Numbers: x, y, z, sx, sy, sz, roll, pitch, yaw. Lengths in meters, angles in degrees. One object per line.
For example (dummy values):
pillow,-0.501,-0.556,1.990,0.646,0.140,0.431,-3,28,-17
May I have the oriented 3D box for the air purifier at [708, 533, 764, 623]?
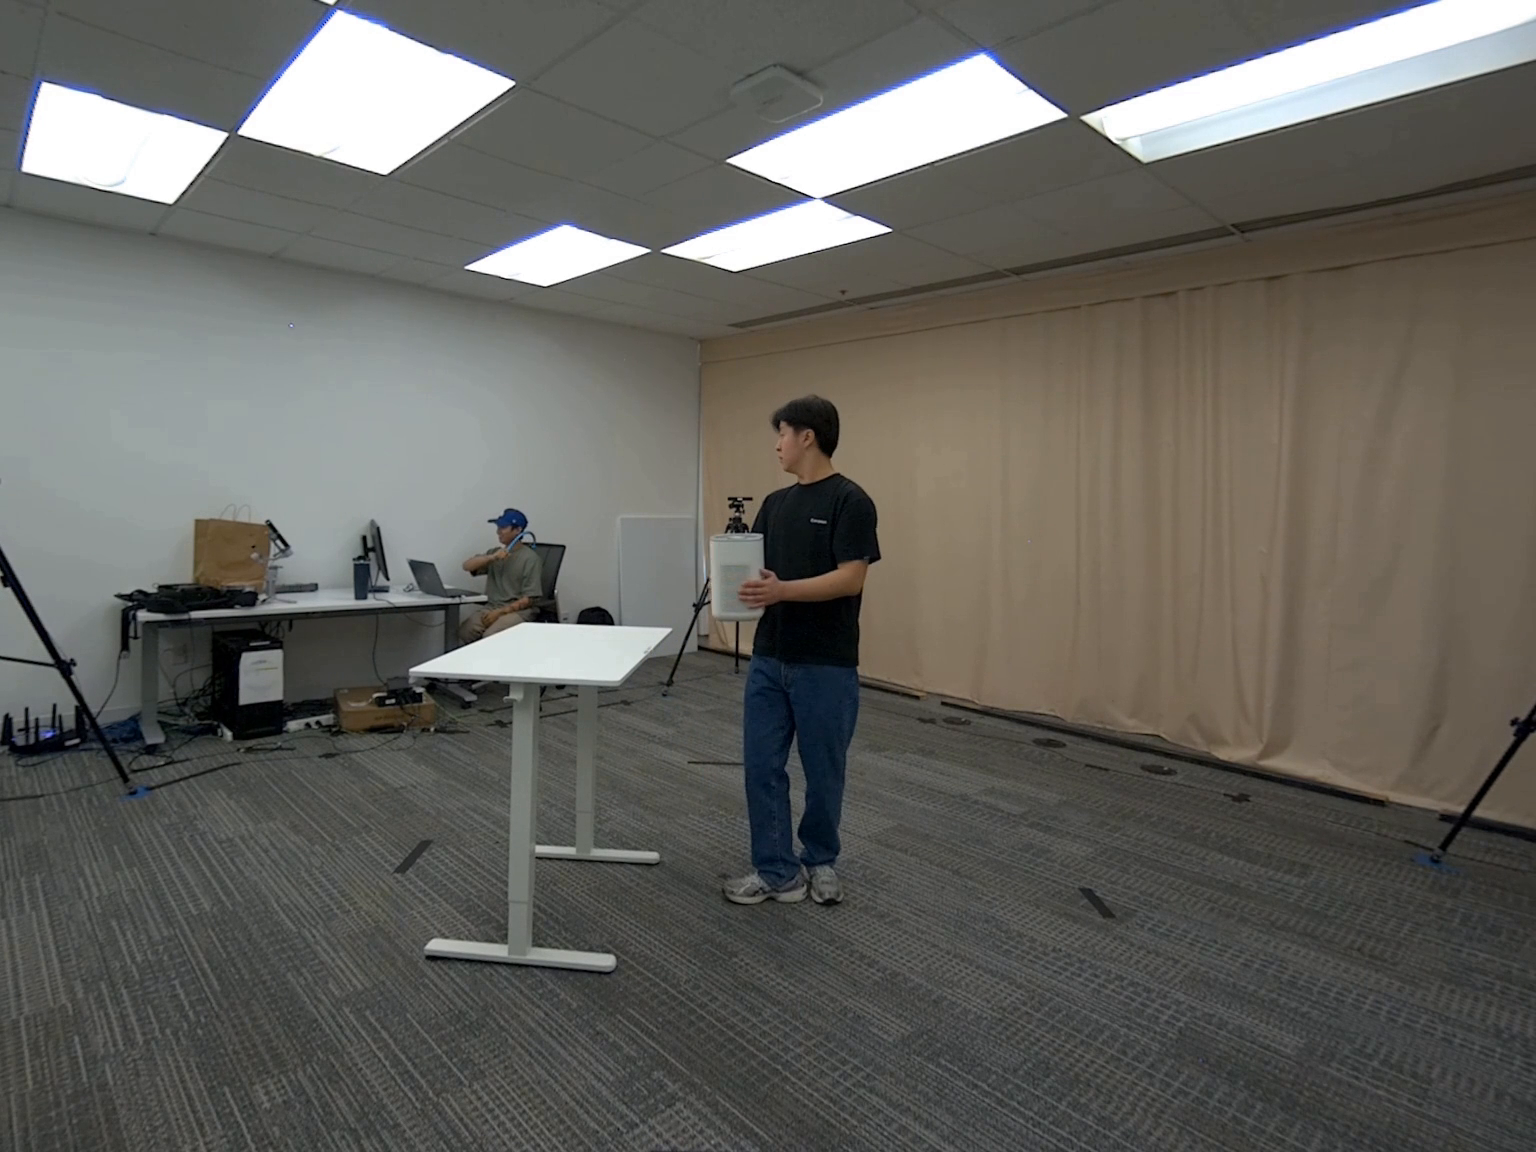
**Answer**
air purifier,-0.100,0.002,2.720,0.172,0.264,0.171,-1,7,2
